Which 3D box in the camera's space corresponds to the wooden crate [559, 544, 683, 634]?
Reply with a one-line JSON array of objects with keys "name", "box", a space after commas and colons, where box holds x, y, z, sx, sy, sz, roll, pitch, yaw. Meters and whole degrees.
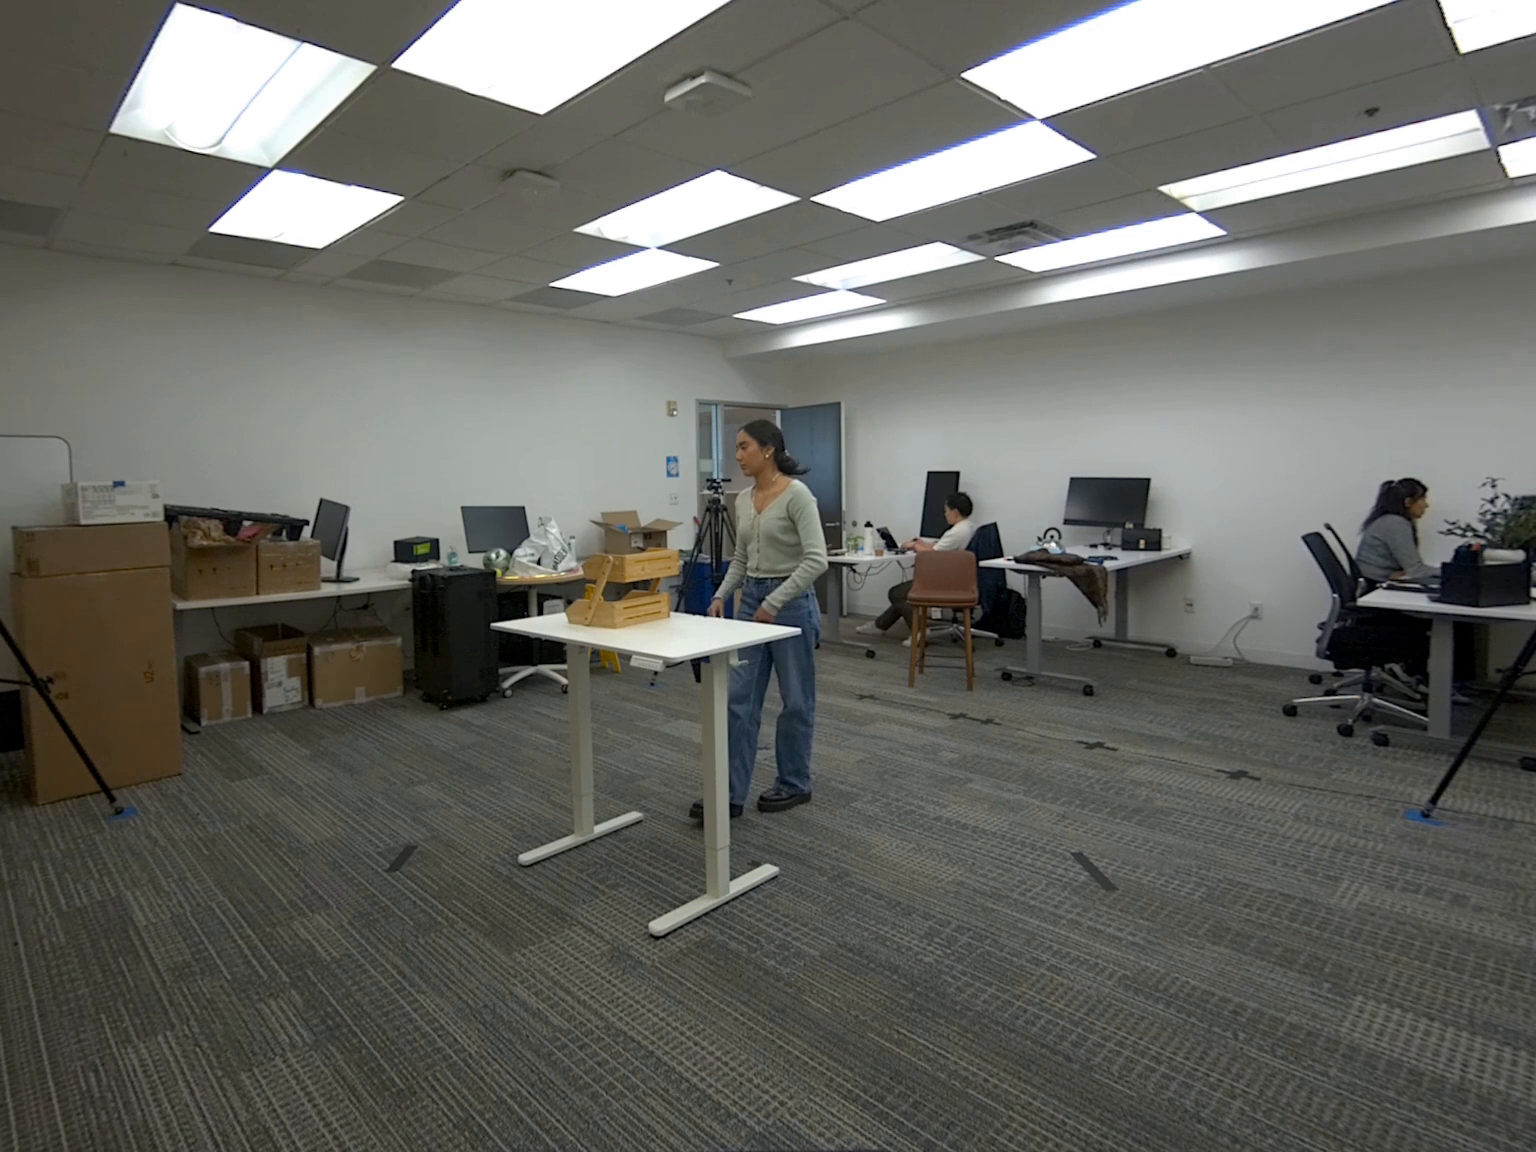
[{"name": "wooden crate", "box": [-0.540, 0.035, 3.152, 0.311, 0.272, 0.317, 3, 7, 35]}]
